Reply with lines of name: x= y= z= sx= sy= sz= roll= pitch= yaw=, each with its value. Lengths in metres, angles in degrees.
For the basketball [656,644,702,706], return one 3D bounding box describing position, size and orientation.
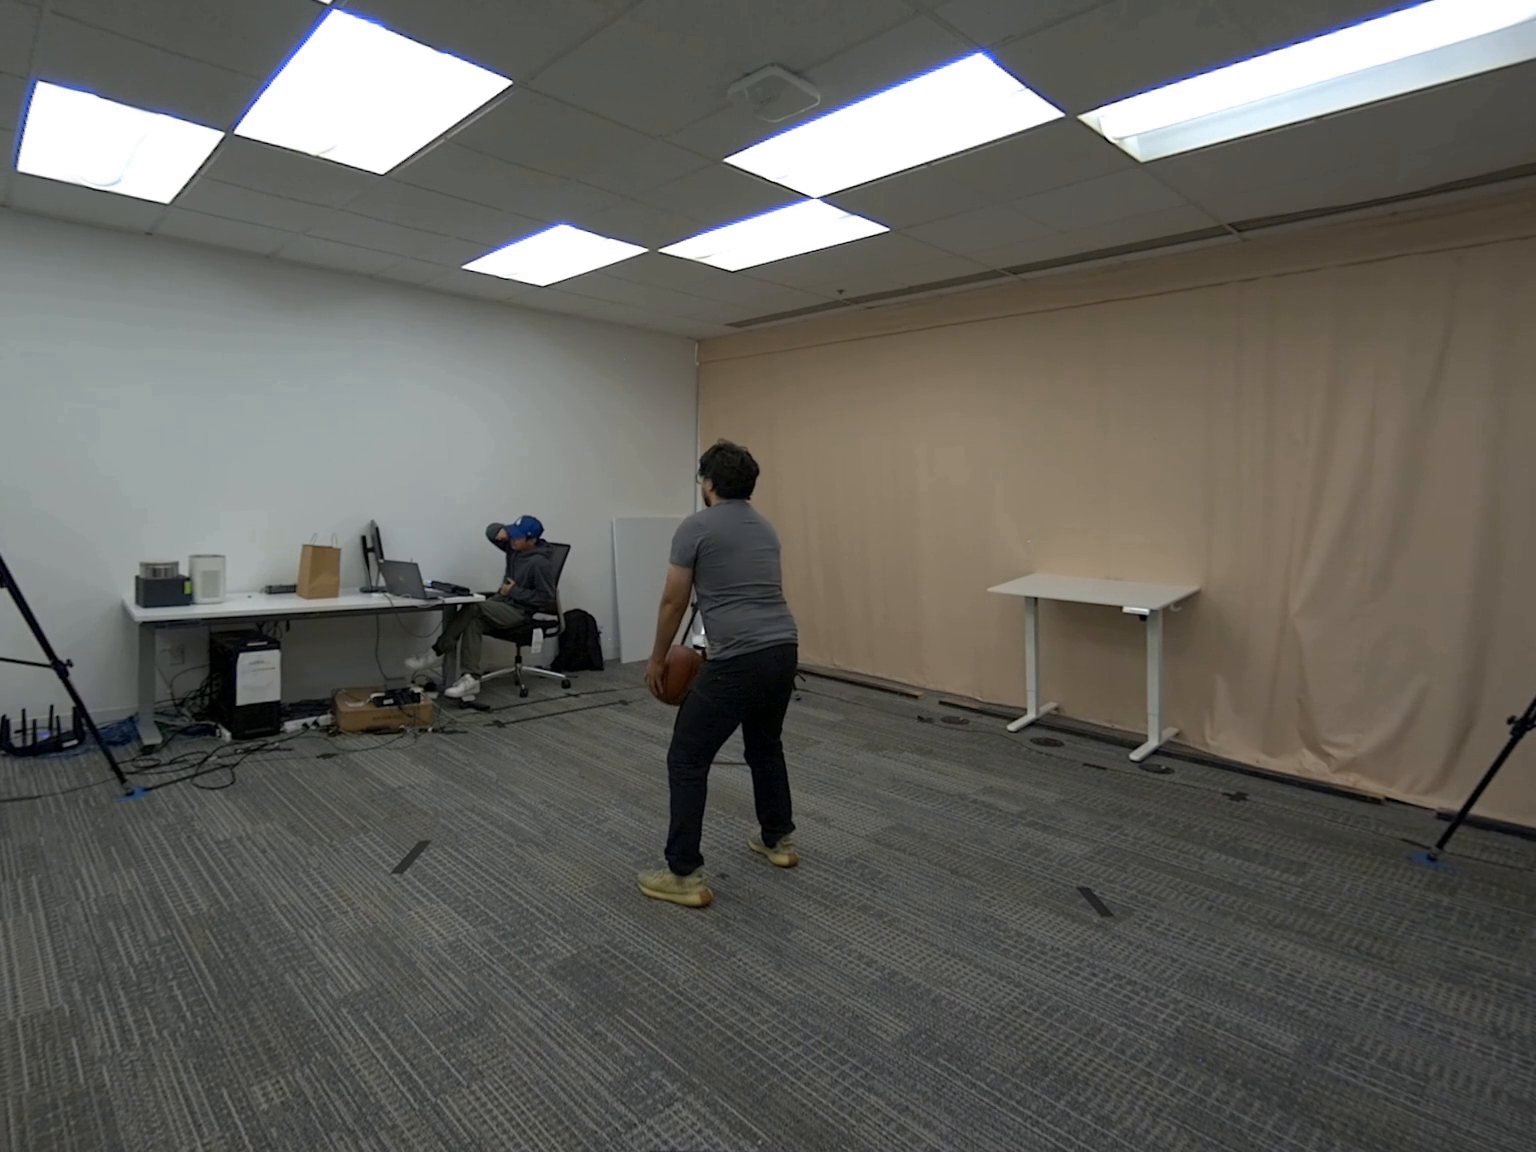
basketball: x=-0.362 y=0.391 z=3.311 sx=0.236 sy=0.235 sz=0.237 roll=1 pitch=4 yaw=-1
